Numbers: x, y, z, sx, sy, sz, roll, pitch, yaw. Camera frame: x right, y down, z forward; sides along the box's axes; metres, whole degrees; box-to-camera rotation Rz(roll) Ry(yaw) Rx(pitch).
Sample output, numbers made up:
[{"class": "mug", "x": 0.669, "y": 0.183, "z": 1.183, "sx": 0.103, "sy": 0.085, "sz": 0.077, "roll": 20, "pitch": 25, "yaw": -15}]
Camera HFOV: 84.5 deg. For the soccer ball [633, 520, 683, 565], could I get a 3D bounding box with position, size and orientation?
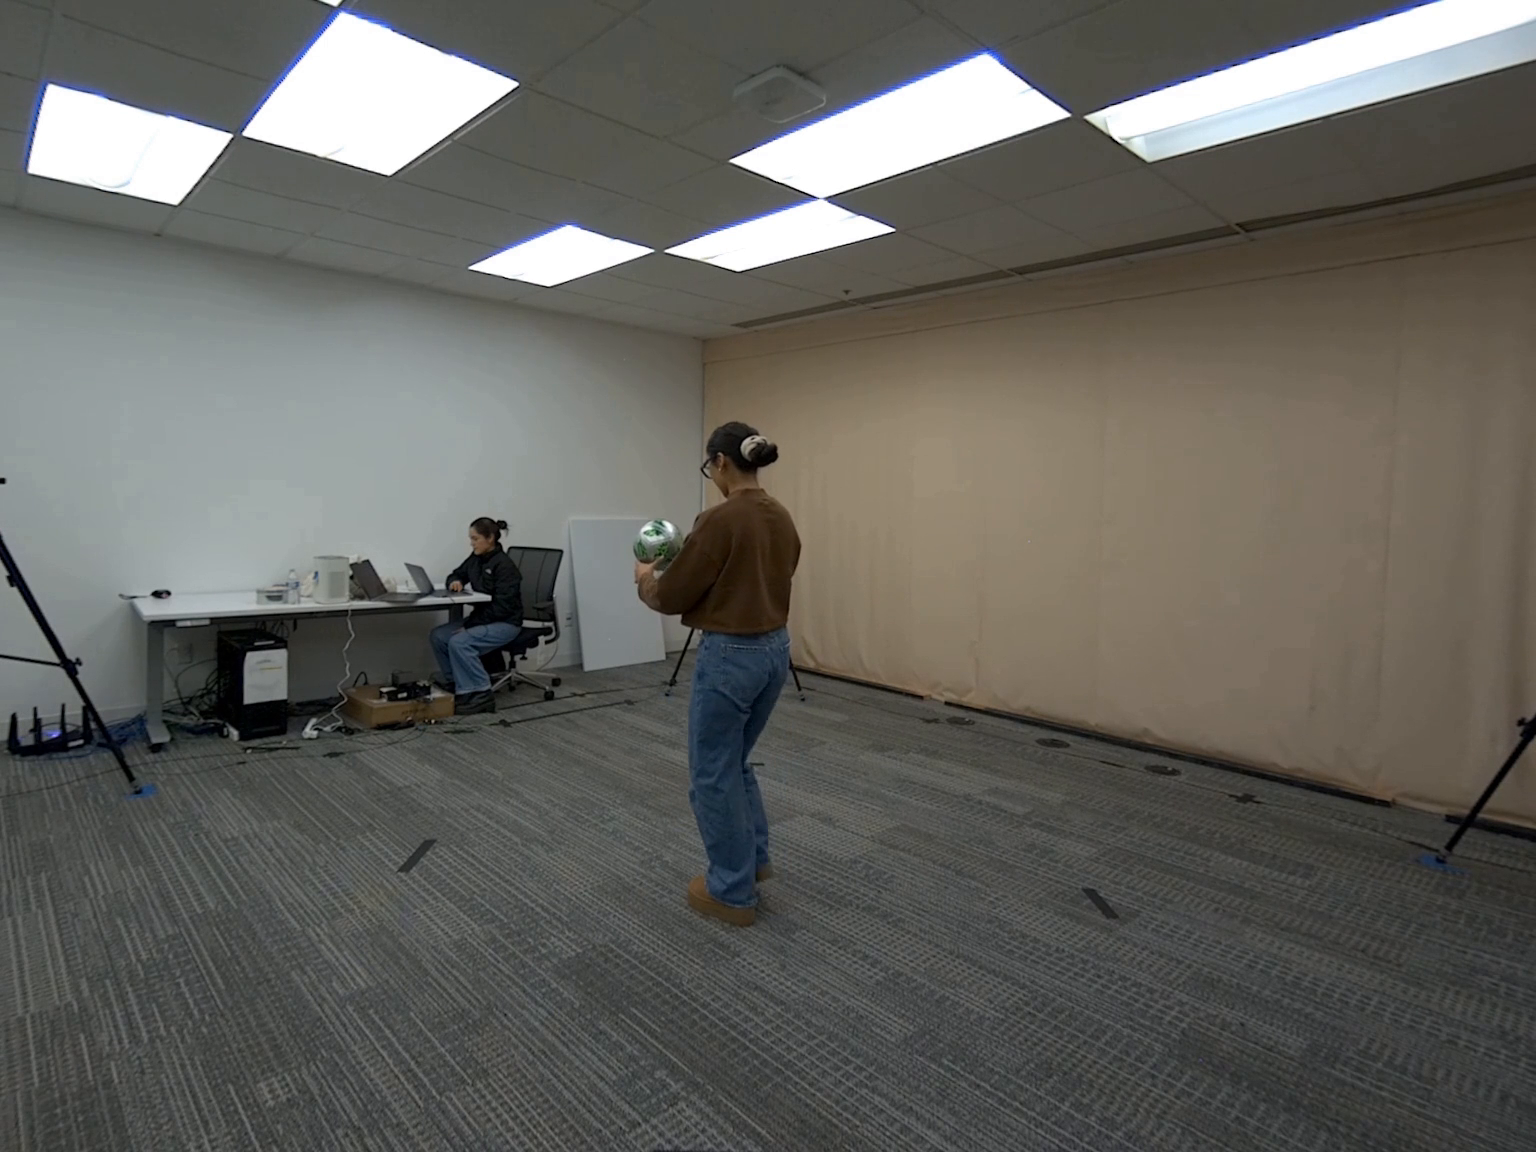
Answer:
[{"class": "soccer ball", "x": -0.401, "y": -0.116, "z": 3.056, "sx": 0.187, "sy": 0.187, "sz": 0.188, "roll": 1, "pitch": 4, "yaw": -1}]
